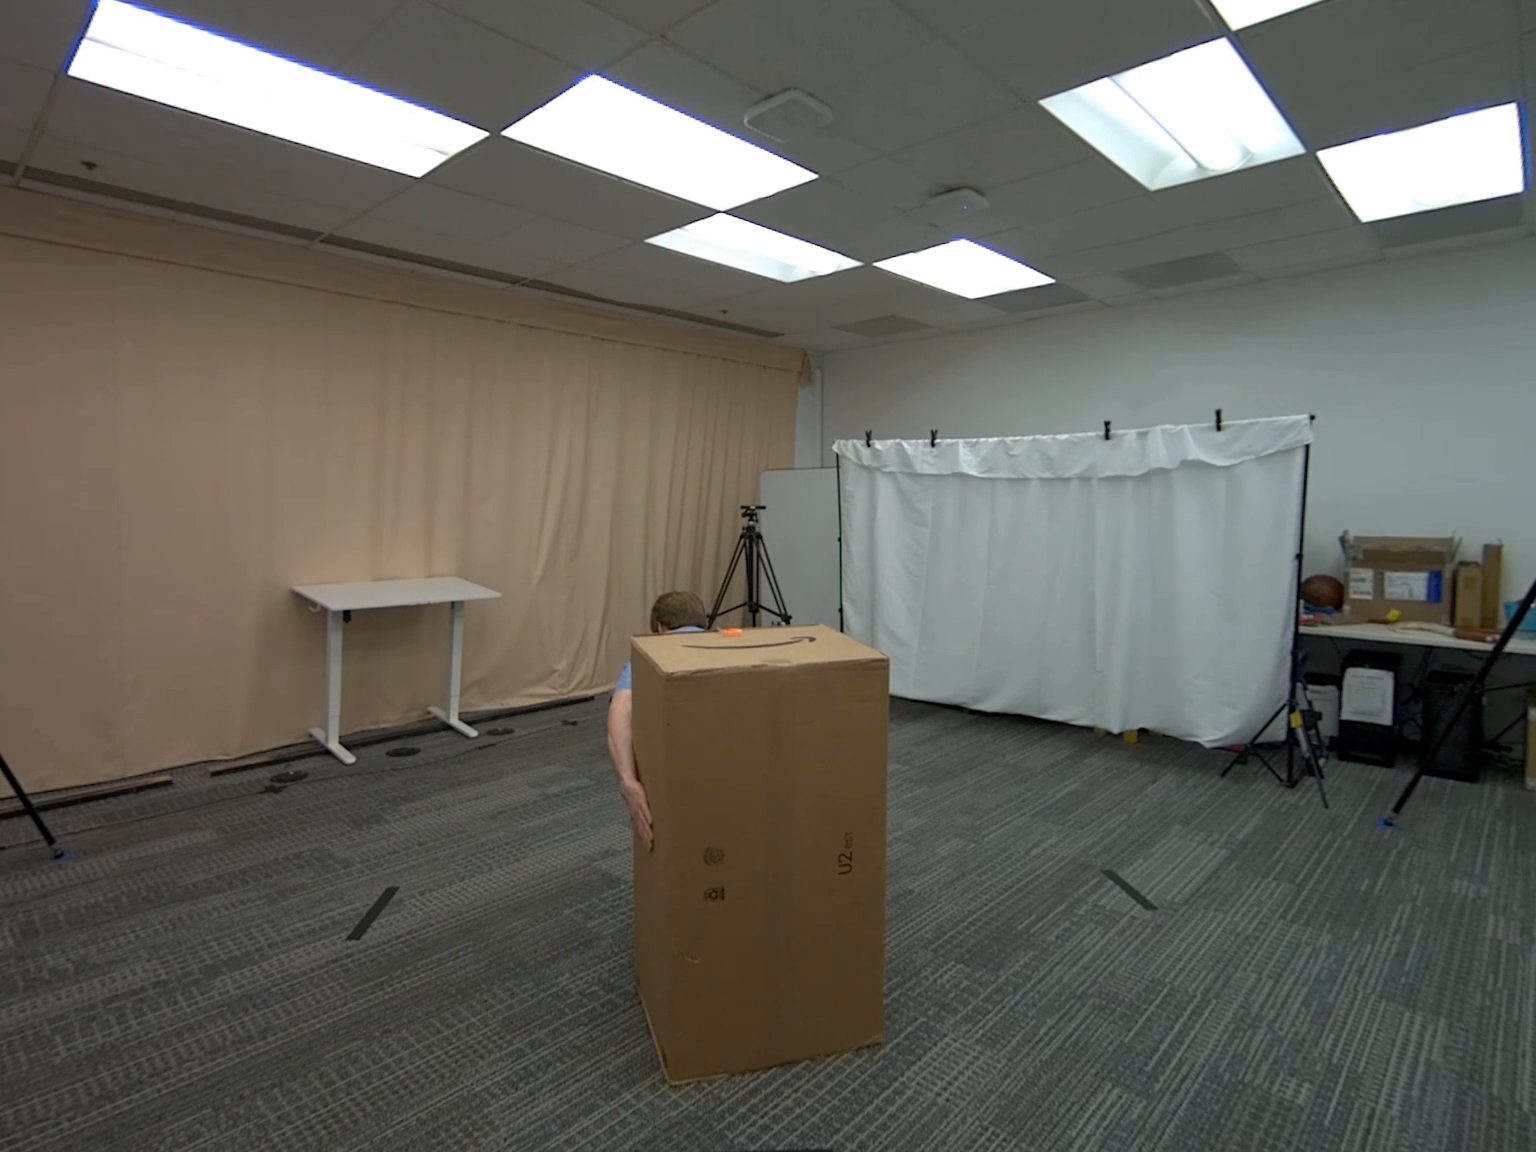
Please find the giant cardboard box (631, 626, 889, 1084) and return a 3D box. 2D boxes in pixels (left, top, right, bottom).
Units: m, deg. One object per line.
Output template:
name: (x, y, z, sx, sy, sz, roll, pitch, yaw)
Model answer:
giant cardboard box: (-0.034, 0.682, 2.235, 0.573, 1.022, 0.457, -2, 8, -18)
